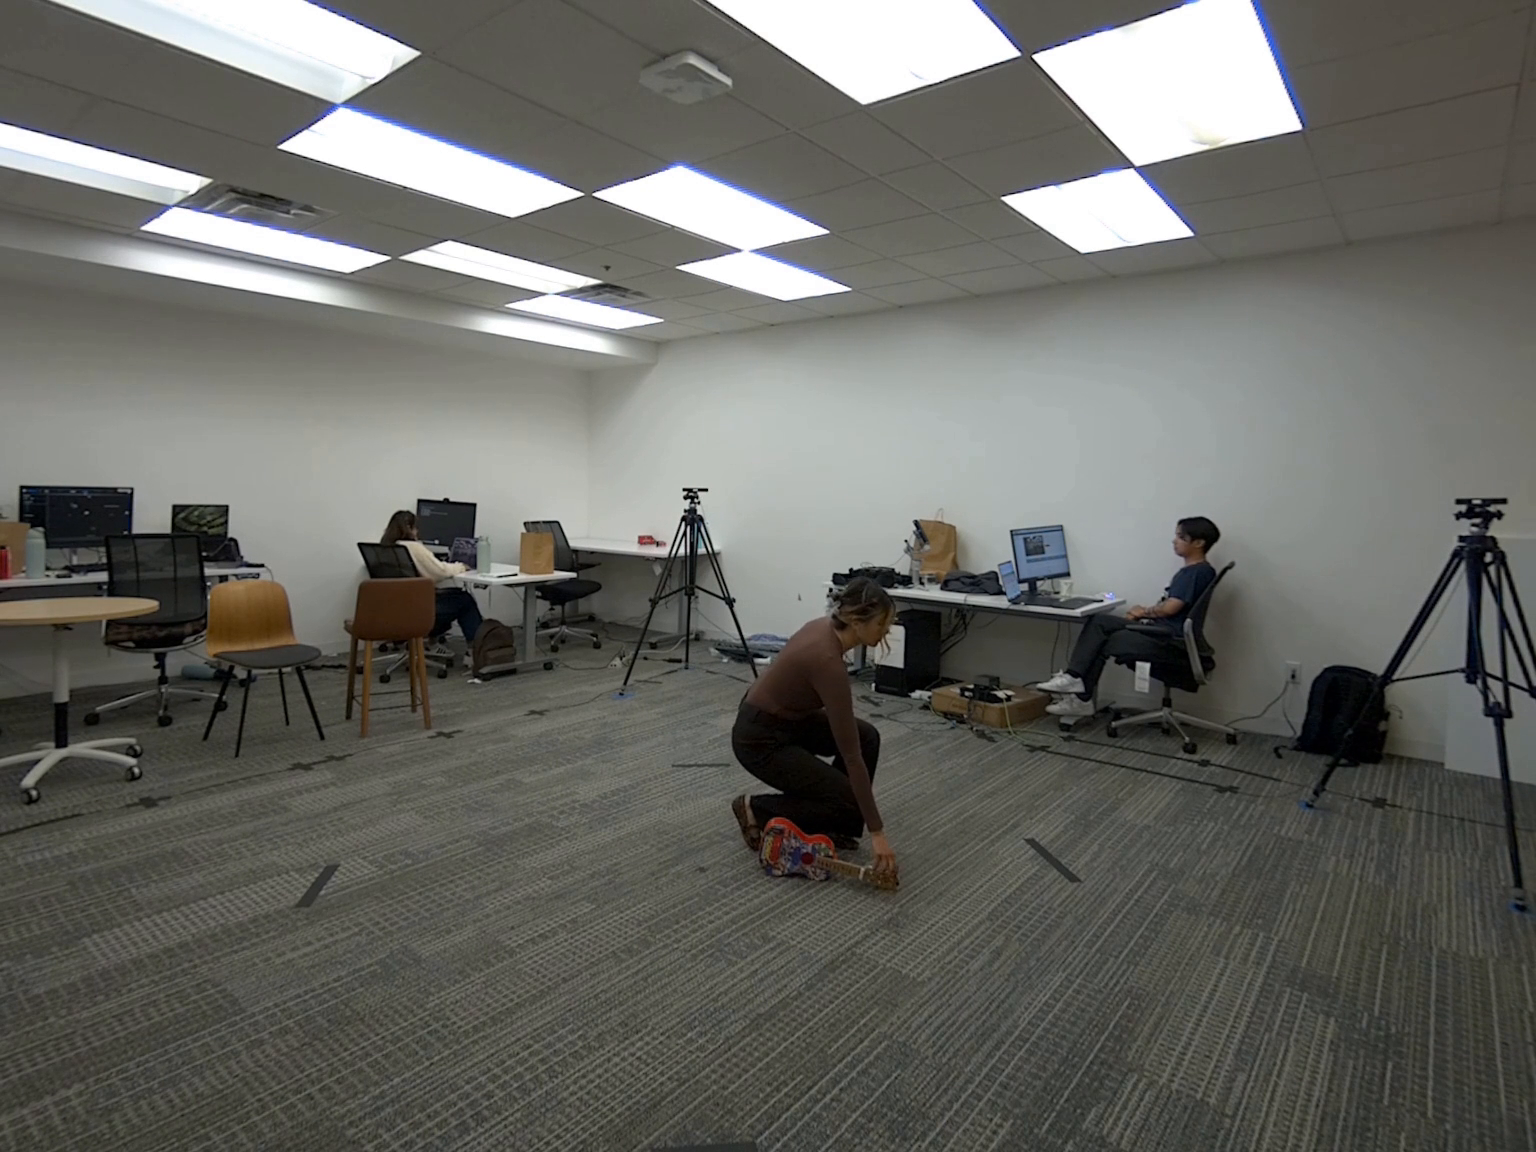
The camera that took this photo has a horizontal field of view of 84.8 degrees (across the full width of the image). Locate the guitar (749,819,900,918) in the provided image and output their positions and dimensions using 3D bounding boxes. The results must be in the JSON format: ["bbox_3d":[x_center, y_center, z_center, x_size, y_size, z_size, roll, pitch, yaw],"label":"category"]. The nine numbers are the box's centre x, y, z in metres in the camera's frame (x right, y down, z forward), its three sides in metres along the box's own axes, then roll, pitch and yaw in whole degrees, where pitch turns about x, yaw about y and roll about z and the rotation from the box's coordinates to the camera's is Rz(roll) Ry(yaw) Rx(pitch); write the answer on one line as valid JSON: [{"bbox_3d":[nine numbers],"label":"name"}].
[{"bbox_3d":[0.200,1.032,3.047,0.504,0.192,0.070,20,8,9],"label":"guitar"}]
